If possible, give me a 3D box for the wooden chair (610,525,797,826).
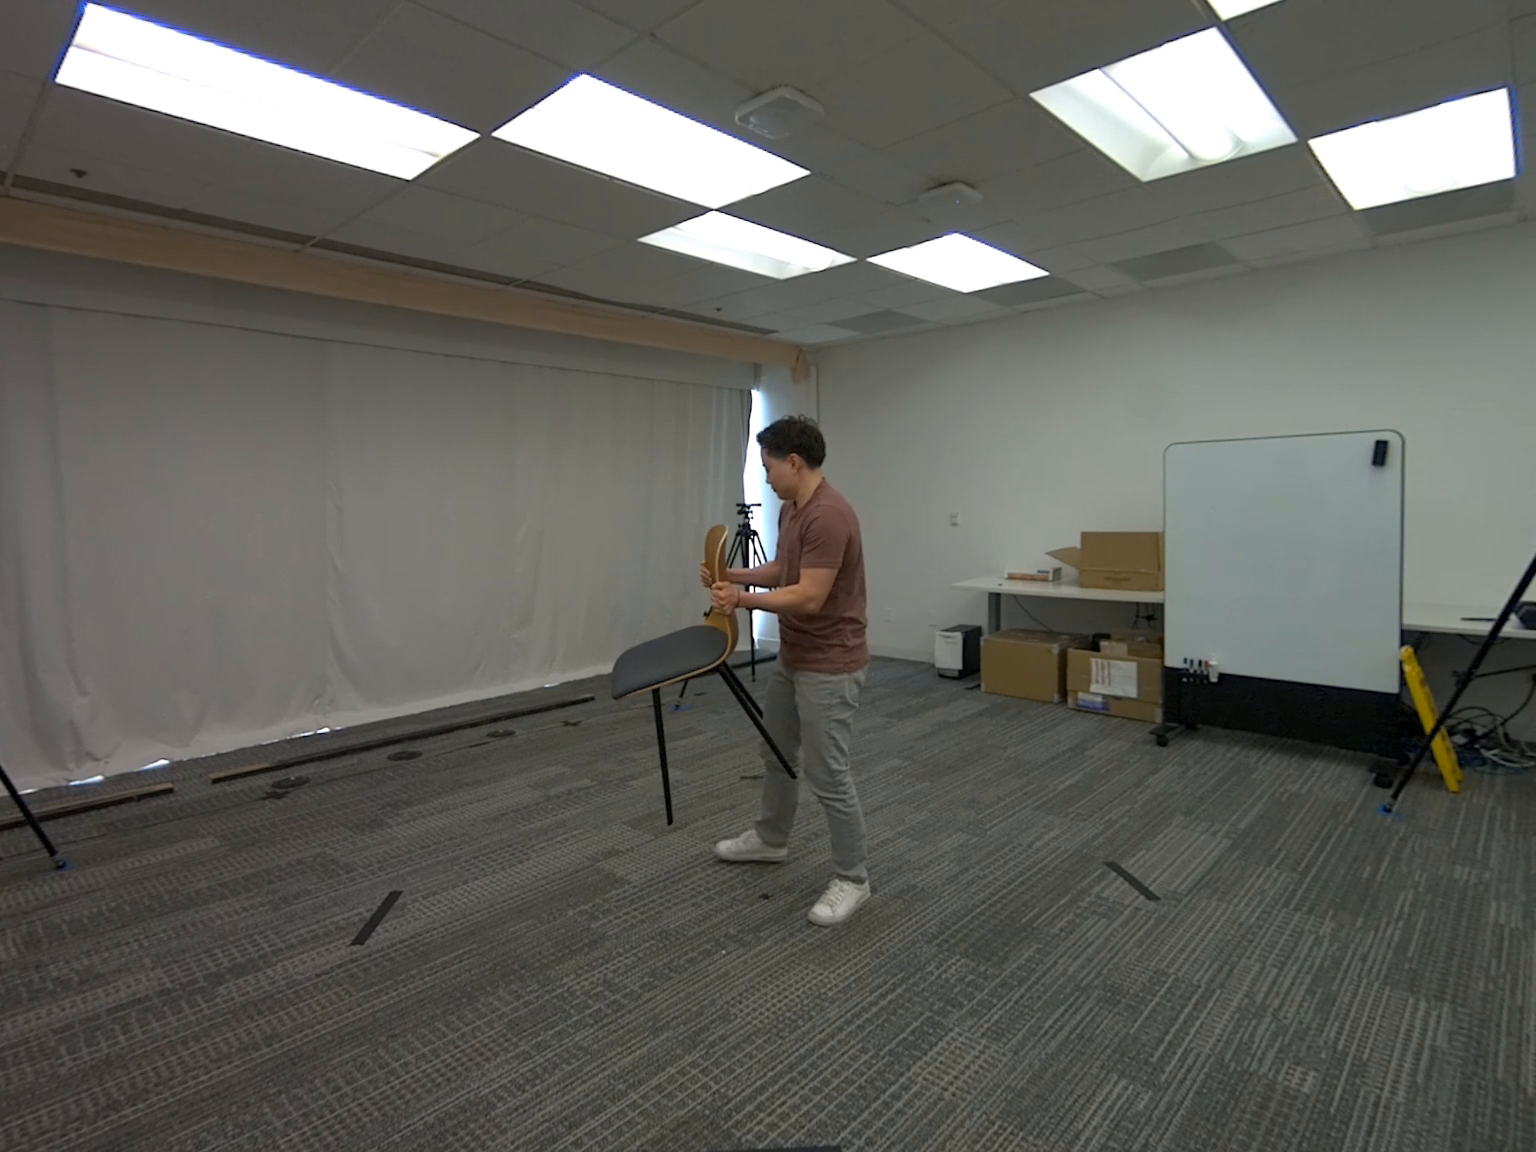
[{"bbox_3d":[-0.290,0.319,2.922,0.521,0.868,0.485,-14,13,-6],"label":"wooden chair"}]
